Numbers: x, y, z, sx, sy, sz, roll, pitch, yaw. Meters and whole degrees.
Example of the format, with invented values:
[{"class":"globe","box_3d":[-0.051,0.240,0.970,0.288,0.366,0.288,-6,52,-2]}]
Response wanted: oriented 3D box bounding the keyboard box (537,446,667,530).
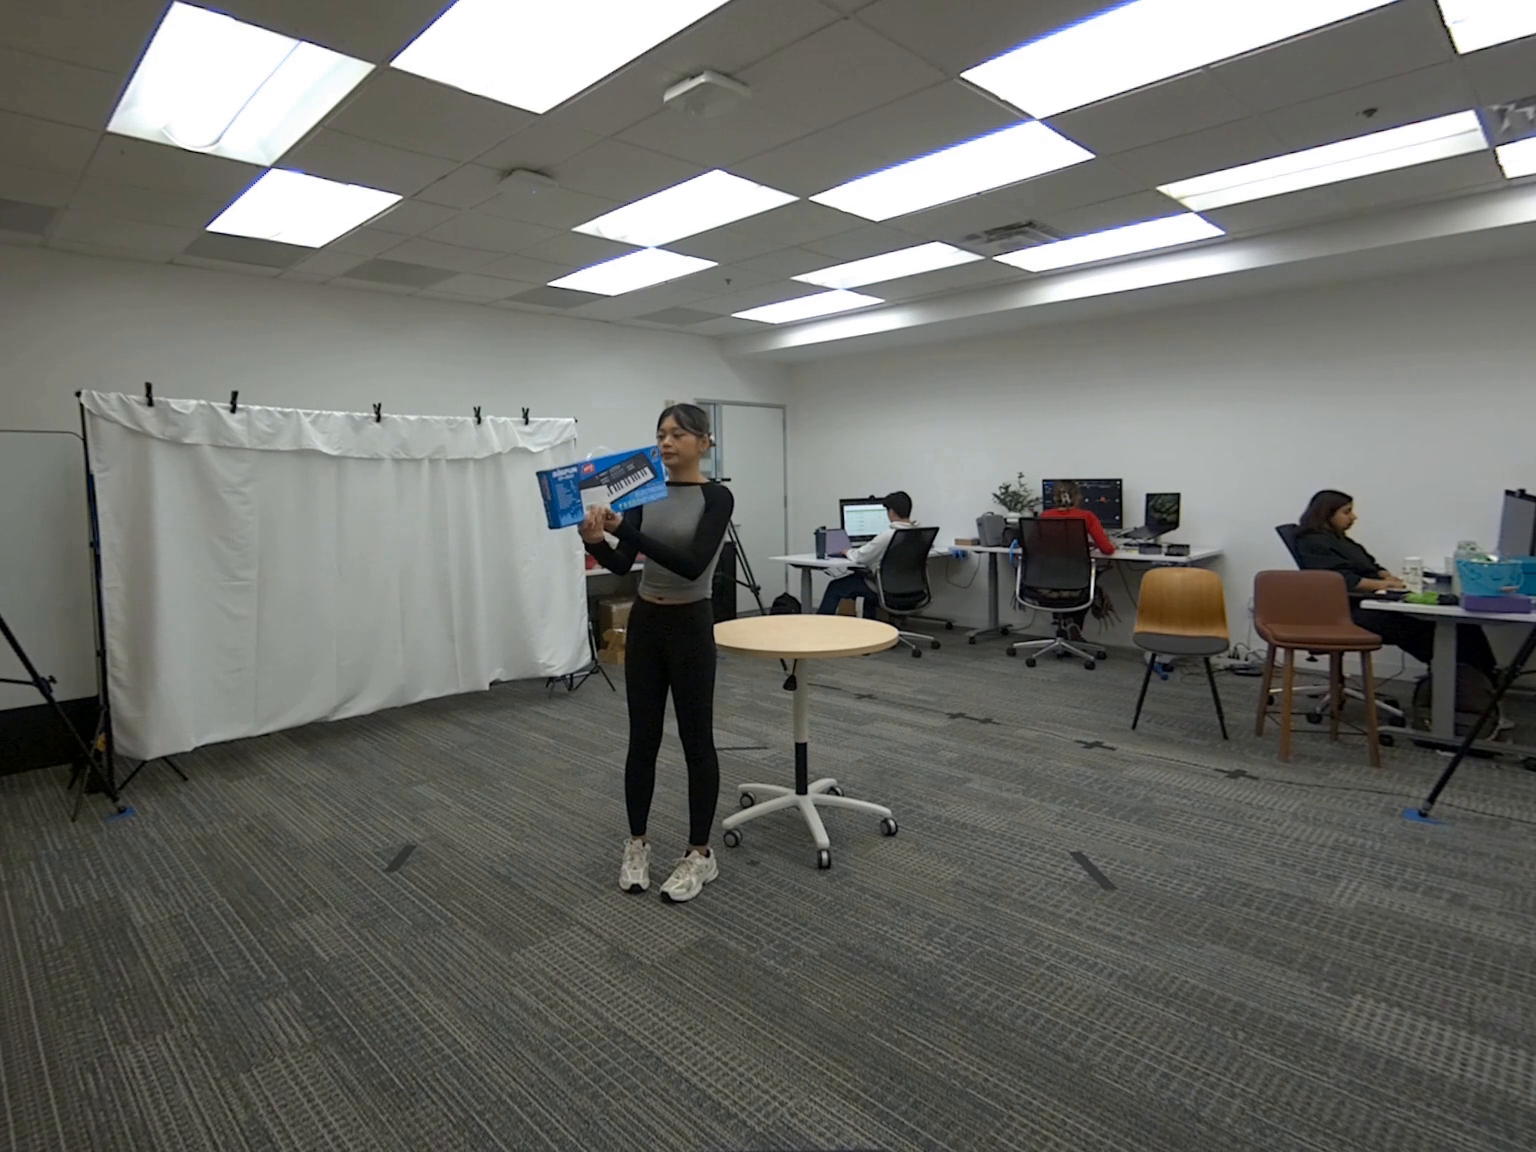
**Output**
[{"class":"keyboard box","box_3d":[-0.492,-0.275,2.592,0.061,0.174,0.429,-4,14,41]}]
